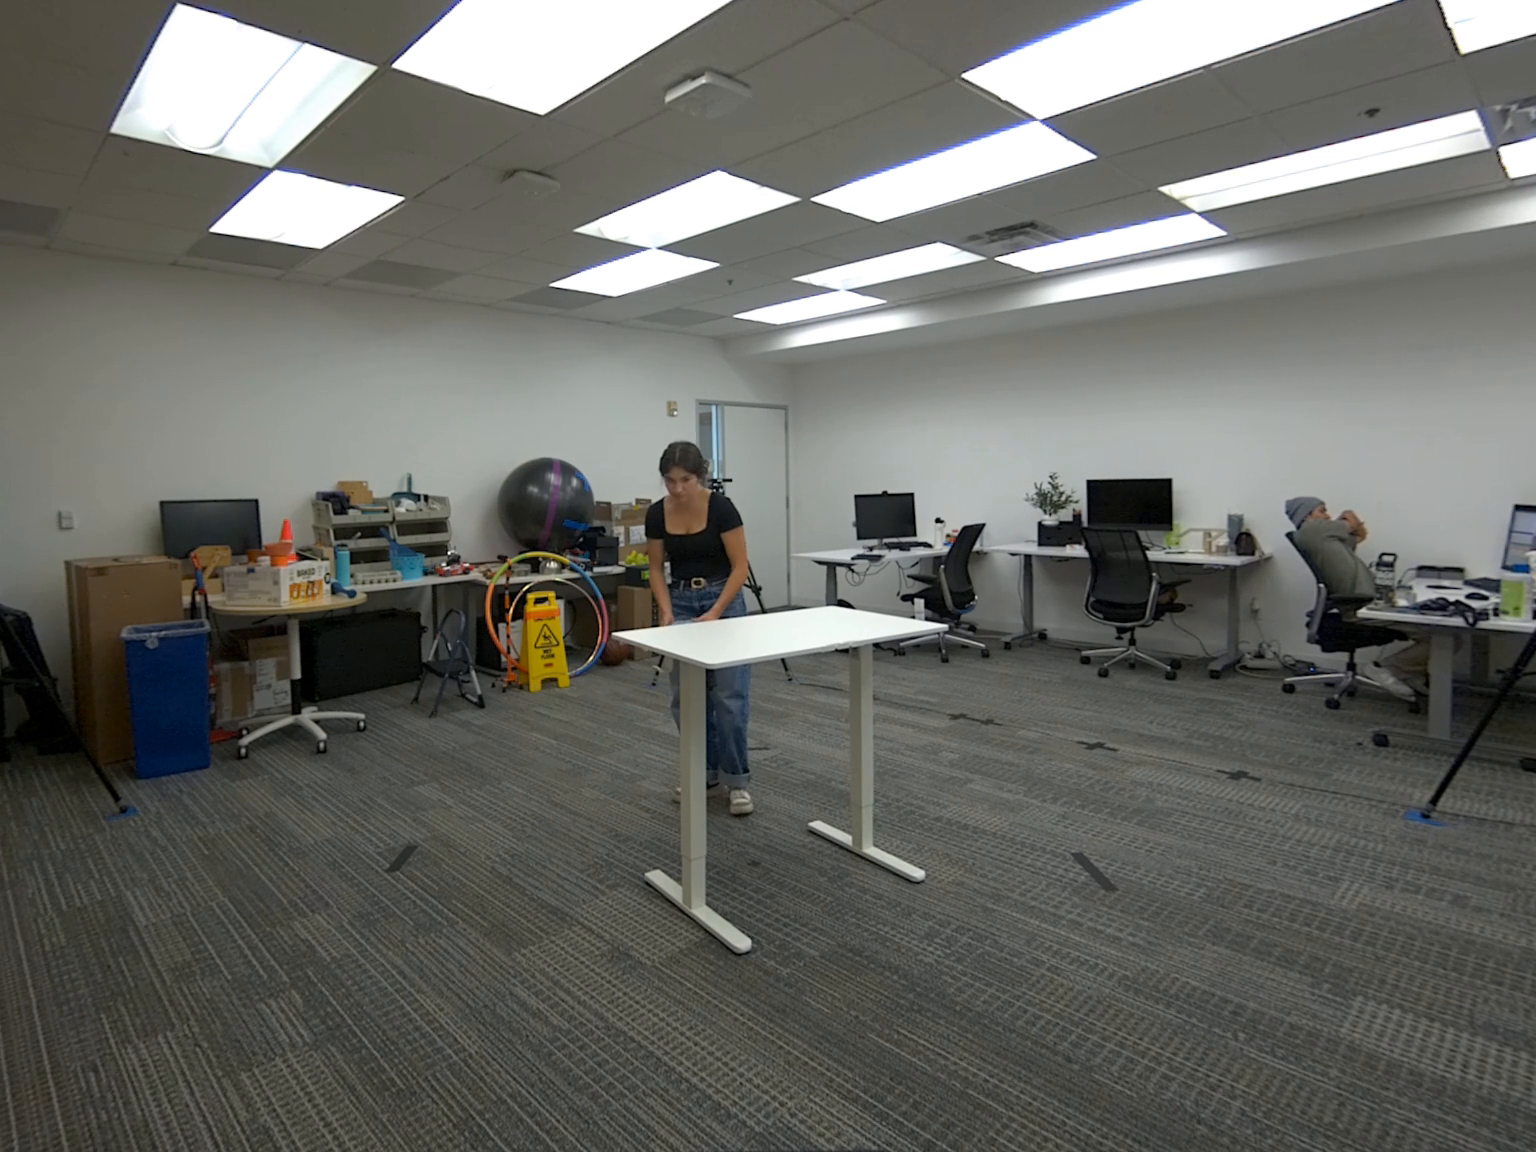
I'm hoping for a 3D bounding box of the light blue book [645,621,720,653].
[{"bbox_3d":[-0.341,0.240,3.438,0.195,0.059,0.257,-5,7,25],"label":"light blue book"}]
